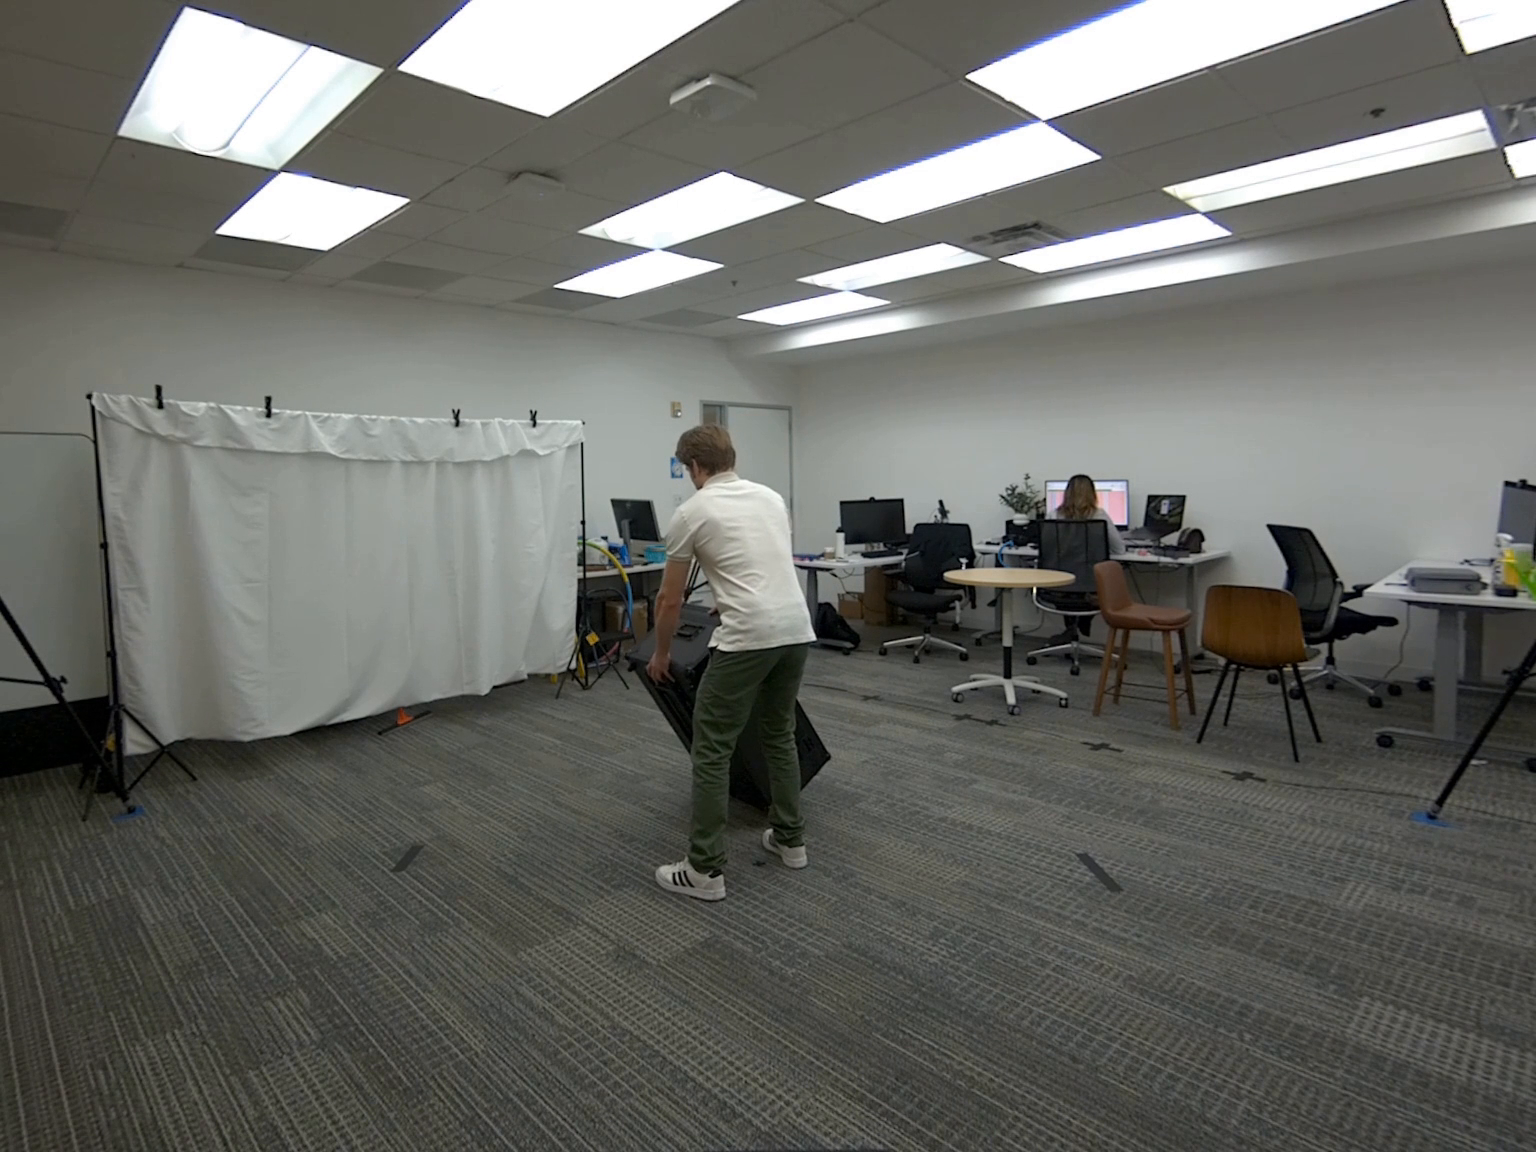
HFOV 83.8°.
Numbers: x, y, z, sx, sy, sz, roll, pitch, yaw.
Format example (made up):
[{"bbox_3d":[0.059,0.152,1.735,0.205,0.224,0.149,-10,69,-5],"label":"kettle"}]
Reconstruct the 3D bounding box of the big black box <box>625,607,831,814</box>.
[{"bbox_3d":[-0.151,0.579,3.586,0.384,0.846,0.539,-42,26,-29],"label":"big black box"}]
